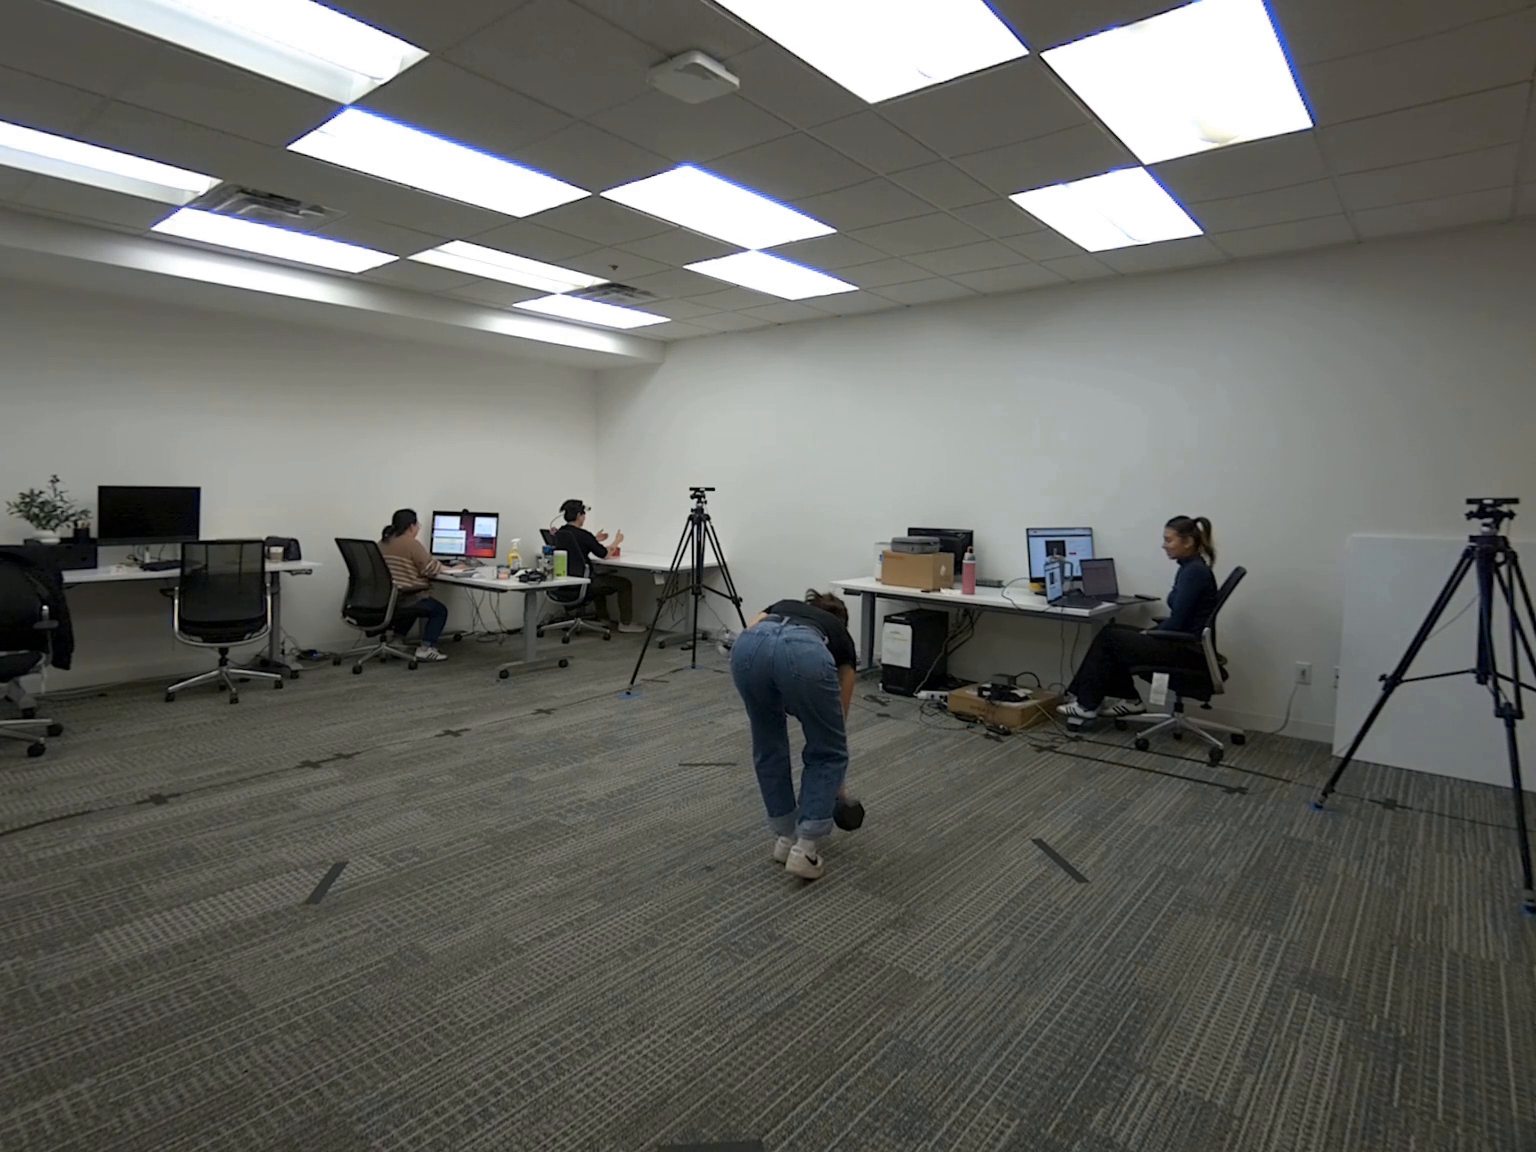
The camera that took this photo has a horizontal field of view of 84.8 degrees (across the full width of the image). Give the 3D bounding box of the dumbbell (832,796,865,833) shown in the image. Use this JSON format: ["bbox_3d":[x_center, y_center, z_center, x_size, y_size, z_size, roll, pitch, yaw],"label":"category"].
[{"bbox_3d":[0.239,0.912,3.353,0.105,0.124,0.302,33,-18,-31],"label":"dumbbell"}]
